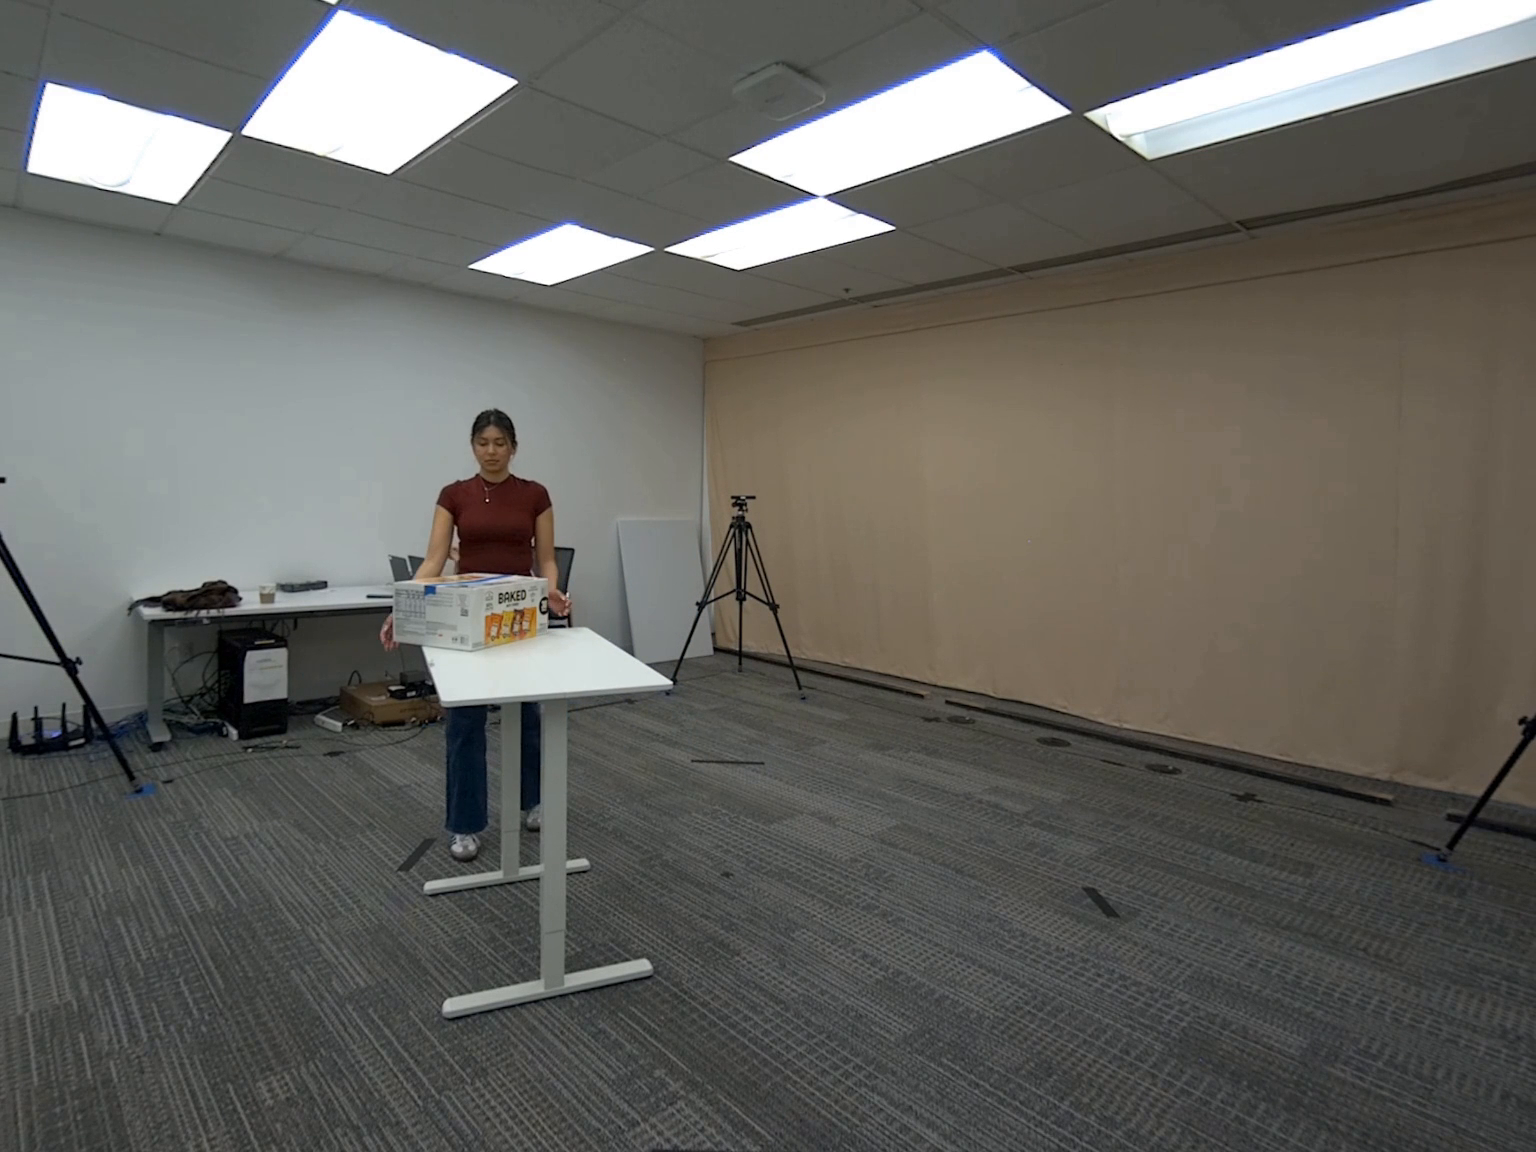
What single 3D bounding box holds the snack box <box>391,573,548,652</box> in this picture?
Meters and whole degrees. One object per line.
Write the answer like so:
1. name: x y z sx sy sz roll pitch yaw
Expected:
1. snack box: -1.033 0.119 2.921 0.346 0.205 0.399 3 5 22
